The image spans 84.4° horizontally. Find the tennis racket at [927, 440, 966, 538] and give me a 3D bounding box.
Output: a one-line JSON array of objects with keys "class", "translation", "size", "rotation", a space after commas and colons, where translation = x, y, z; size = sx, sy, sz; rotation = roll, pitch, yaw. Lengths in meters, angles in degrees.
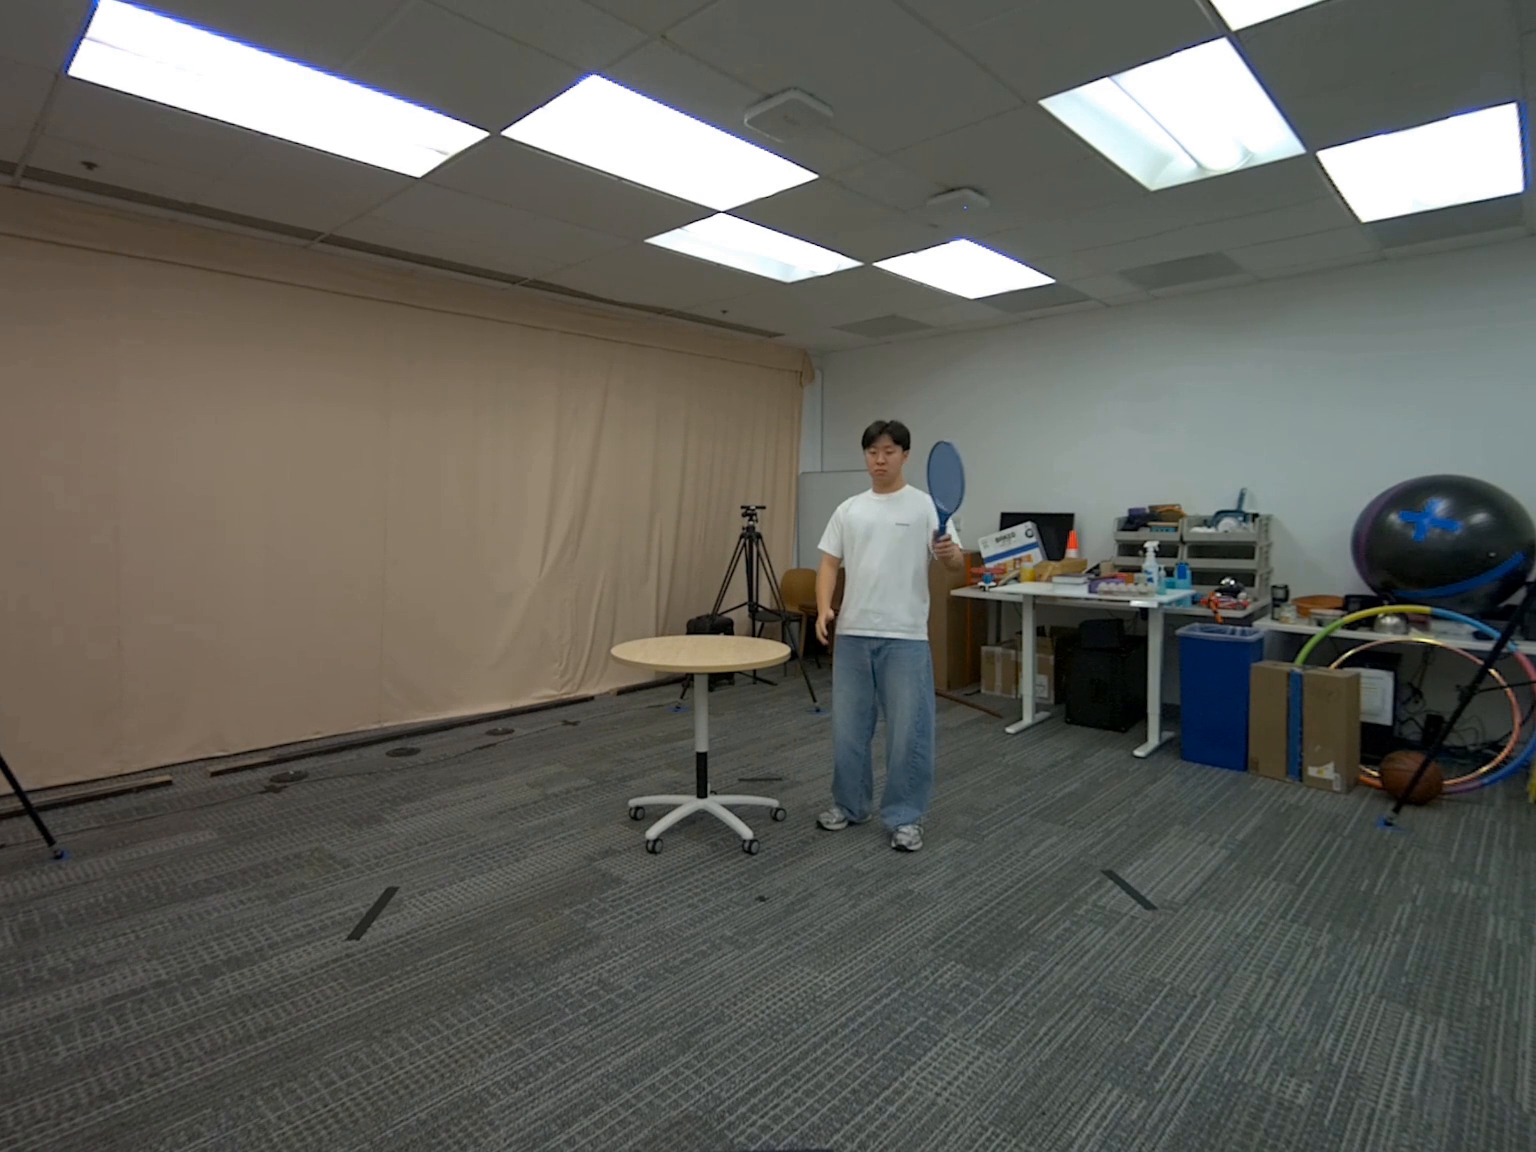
[{"class": "tennis racket", "translation": [0.637, -0.267, 3.003], "size": [0.031, 0.428, 0.221], "rotation": [-6, 28, -24]}]
